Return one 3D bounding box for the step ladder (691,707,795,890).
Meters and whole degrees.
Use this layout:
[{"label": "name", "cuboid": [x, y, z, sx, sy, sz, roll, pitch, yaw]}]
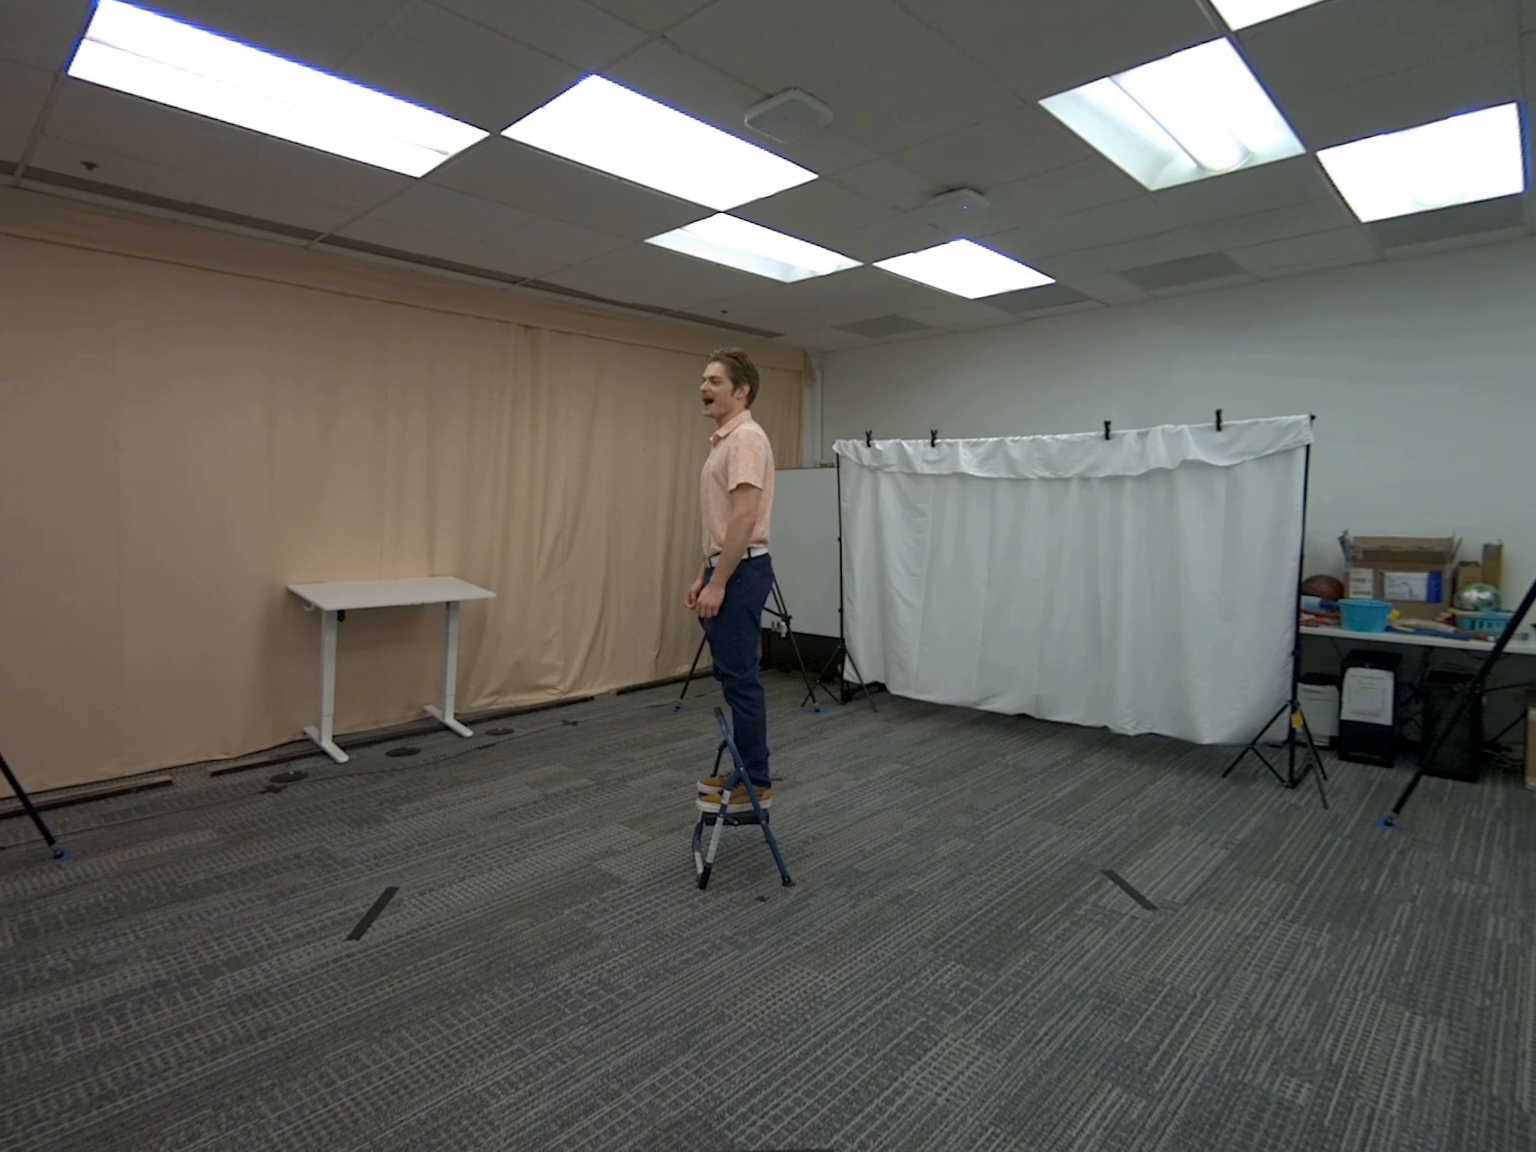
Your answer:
[{"label": "step ladder", "cuboid": [-0.114, 0.822, 3.258, 0.346, 0.605, 0.435, 0, 3, -9]}]
